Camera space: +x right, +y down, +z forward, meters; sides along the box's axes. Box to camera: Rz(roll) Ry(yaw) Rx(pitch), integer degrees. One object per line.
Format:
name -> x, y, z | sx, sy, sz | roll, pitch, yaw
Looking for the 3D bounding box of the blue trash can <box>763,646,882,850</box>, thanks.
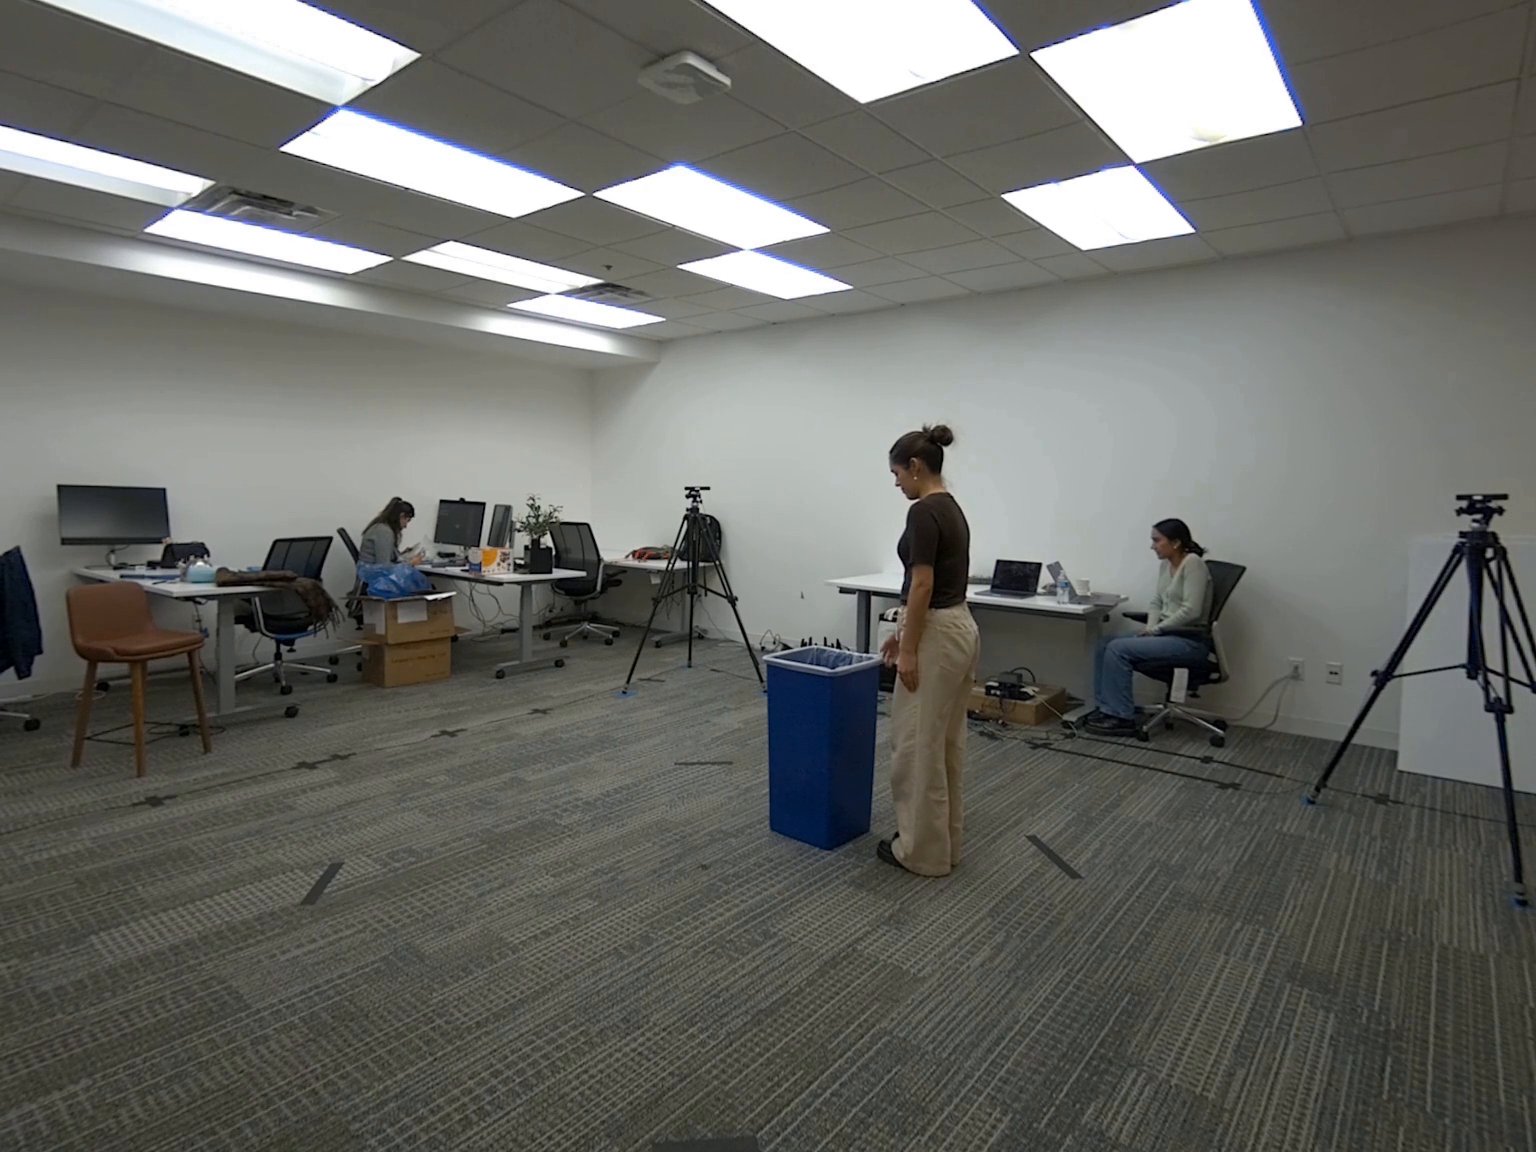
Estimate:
blue trash can -> 0.202, 0.678, 3.465 | 0.387, 0.711, 0.367 | 4, 5, 42
